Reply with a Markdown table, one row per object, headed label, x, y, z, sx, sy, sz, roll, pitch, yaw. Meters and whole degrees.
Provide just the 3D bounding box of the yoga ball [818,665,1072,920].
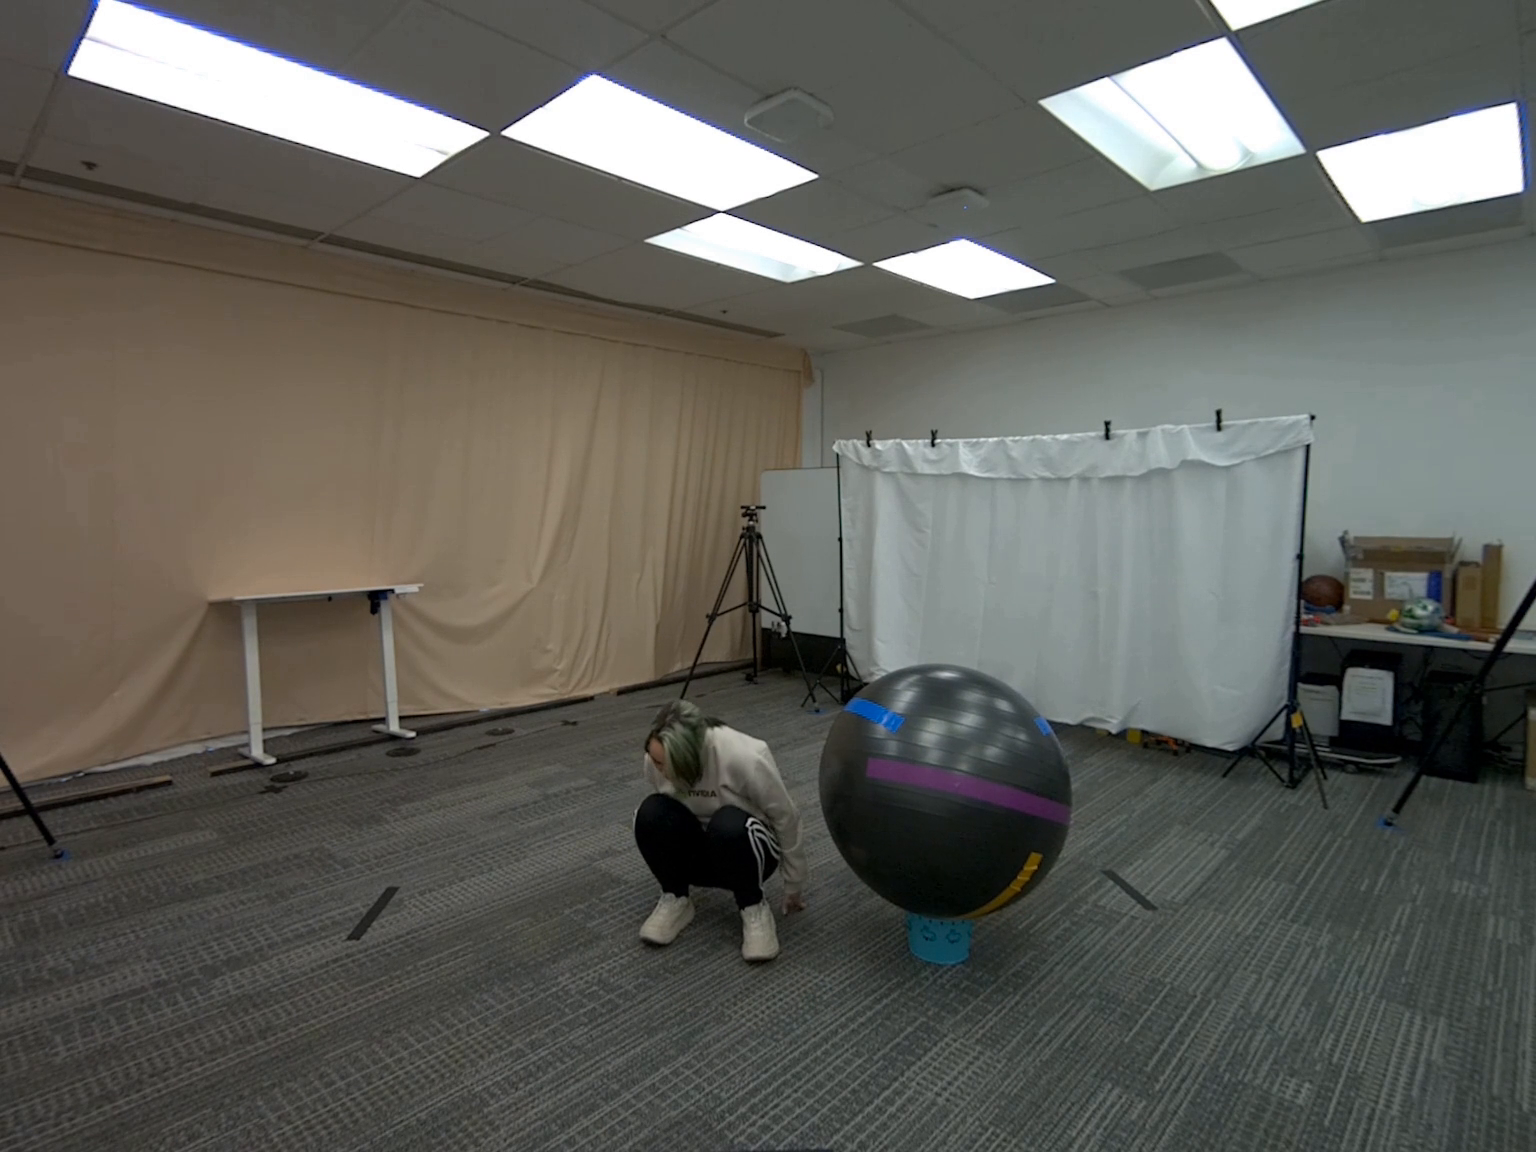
| label | x | y | z | sx | sy | sz | roll | pitch | yaw |
| --- | --- | --- | --- | --- | --- | --- | --- | --- | --- |
| yoga ball | 0.549 | 0.665 | 2.624 | 0.757 | 0.756 | 0.761 | 0 | 4 | -2 |
